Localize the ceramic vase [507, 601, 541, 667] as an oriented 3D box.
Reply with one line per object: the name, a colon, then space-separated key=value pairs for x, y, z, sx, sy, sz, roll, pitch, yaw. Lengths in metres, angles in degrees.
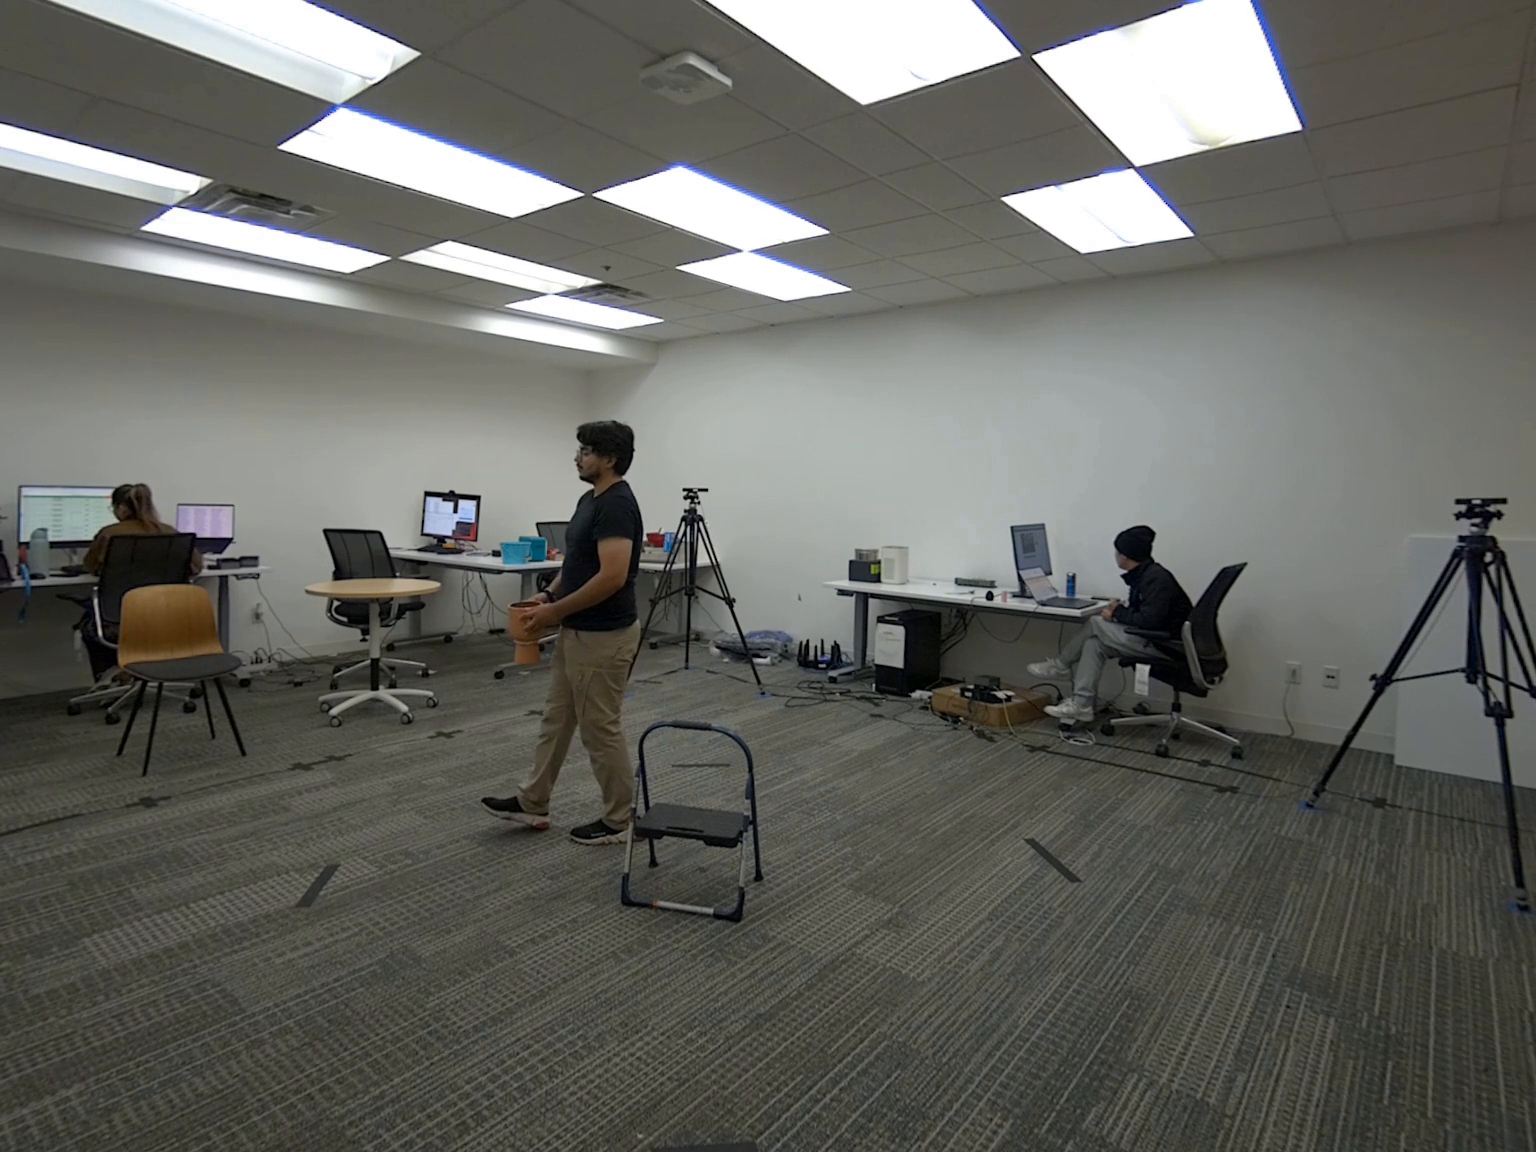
ceramic vase: x=-0.933 y=0.214 z=3.244 sx=0.137 sy=0.218 sz=0.157 roll=2 pitch=8 yaw=15
